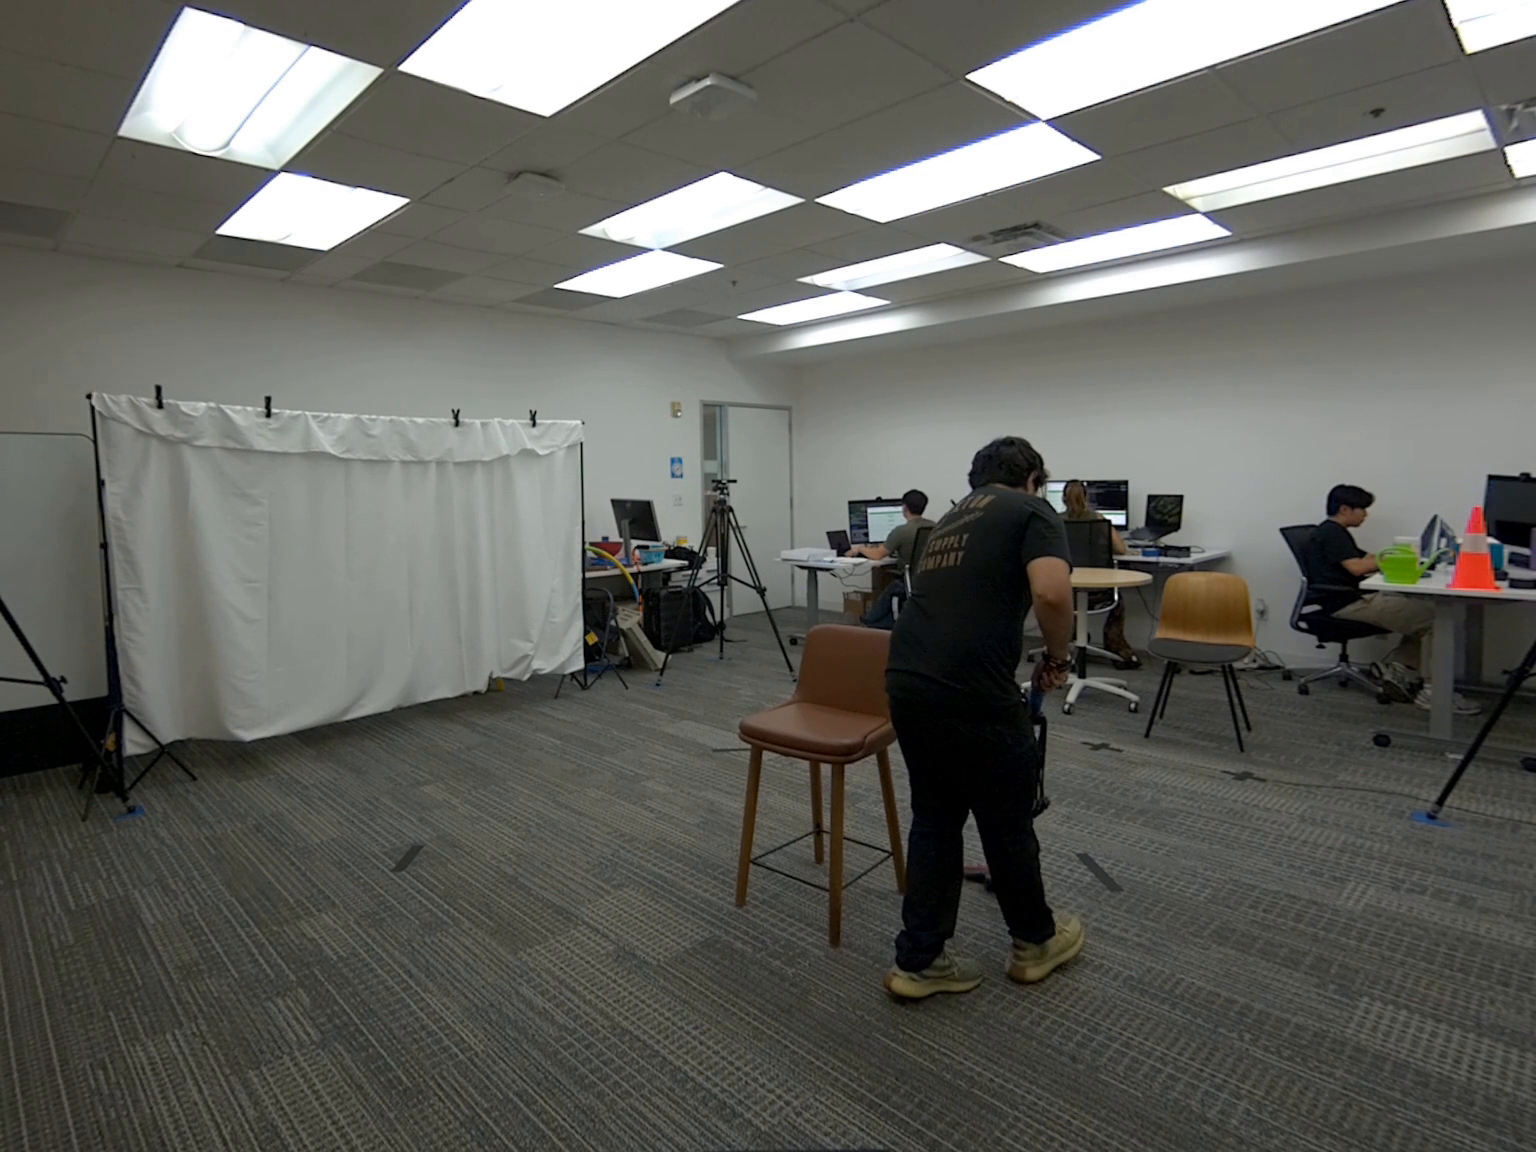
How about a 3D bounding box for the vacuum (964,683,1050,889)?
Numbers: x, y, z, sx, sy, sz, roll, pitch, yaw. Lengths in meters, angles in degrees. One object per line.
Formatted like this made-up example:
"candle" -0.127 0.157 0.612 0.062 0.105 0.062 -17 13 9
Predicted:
"vacuum" 0.767 0.645 2.612 0.253 1.019 0.148 -4 38 1
